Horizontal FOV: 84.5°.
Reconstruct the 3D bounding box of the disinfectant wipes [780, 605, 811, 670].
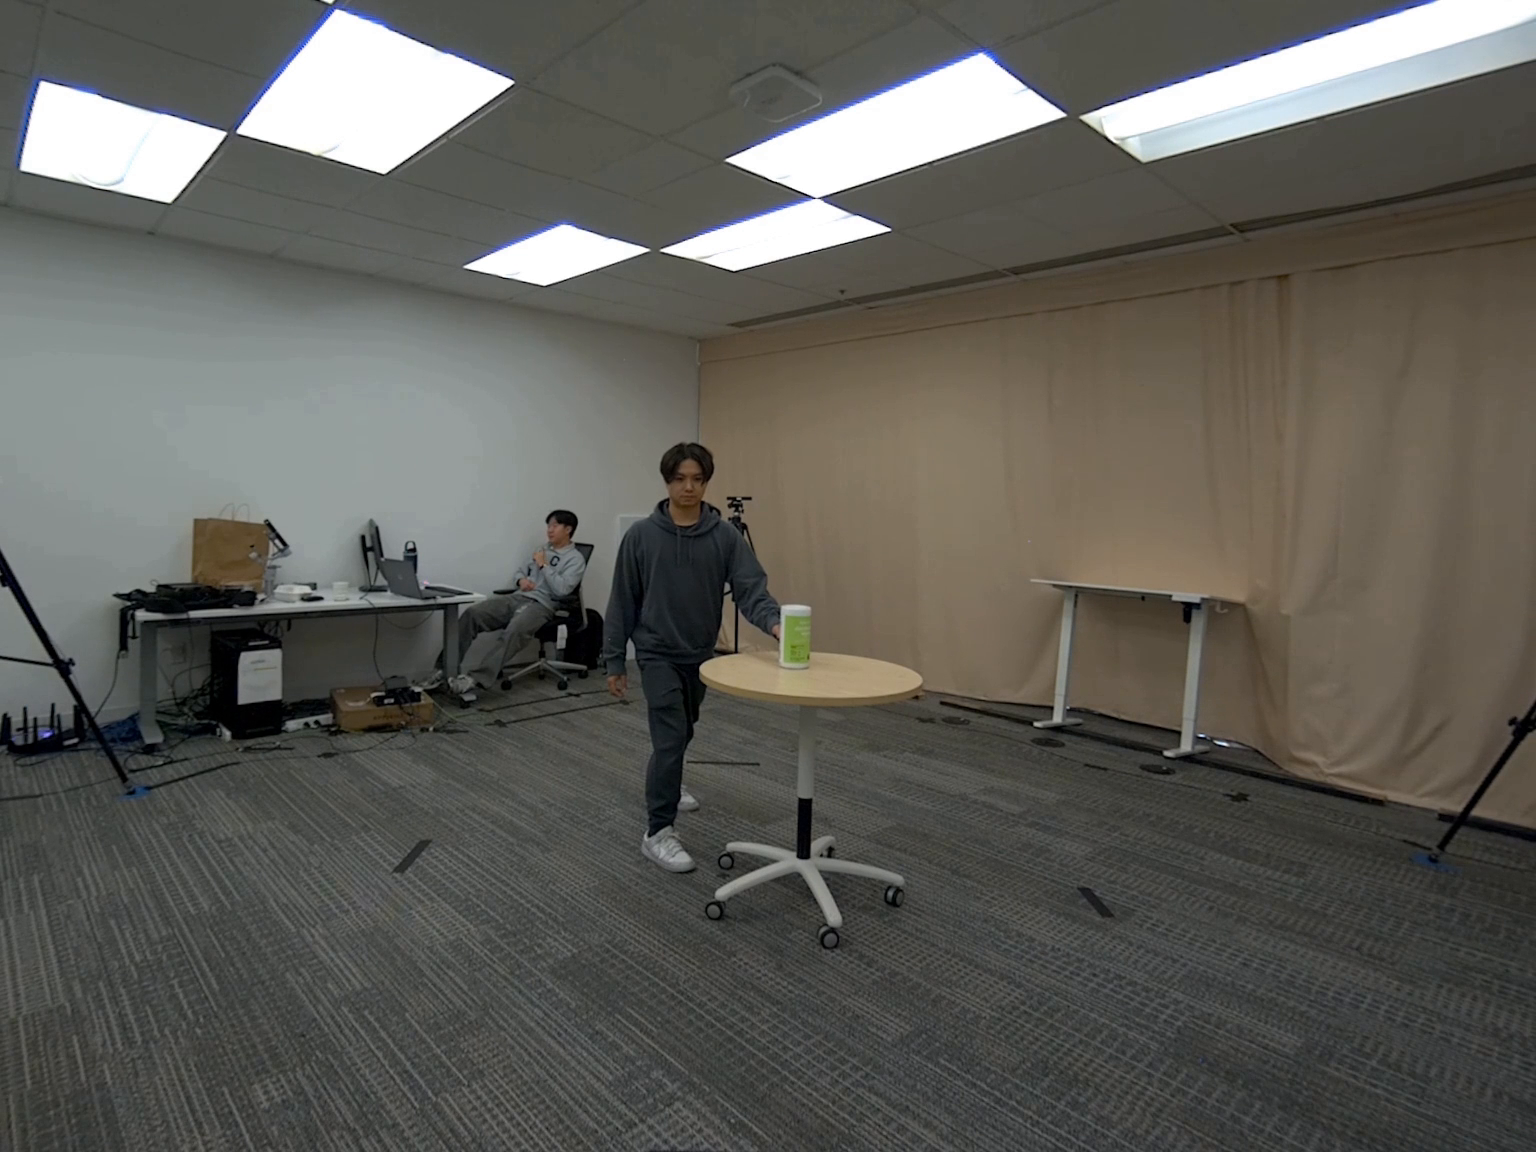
[{"bbox_3d":[0.083,0.214,2.999,0.118,0.217,0.118,1,3,-1],"label":"disinfectant wipes"}]
